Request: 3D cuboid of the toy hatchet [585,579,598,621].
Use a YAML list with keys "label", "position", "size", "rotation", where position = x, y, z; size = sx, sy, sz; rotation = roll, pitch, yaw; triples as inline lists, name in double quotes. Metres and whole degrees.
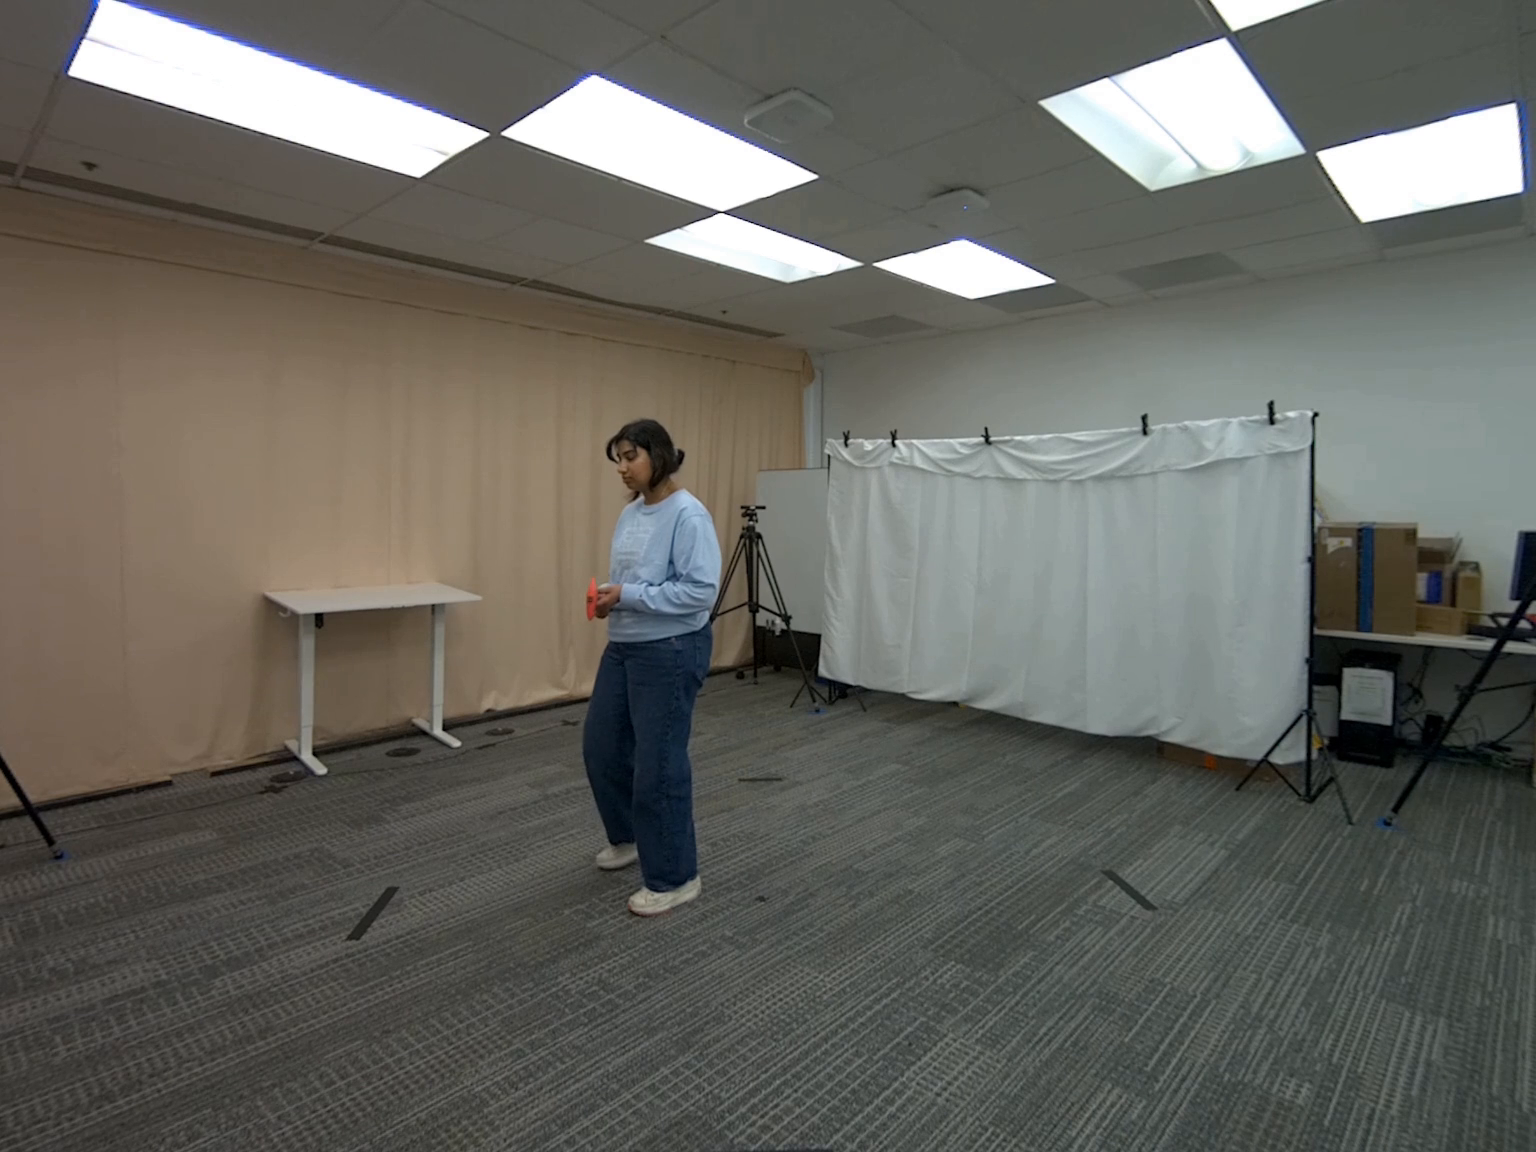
- label: "toy hatchet"
  position: [-0.552, 0.111, 2.754]
  size: [0.030, 0.132, 0.265]
  rotation: [1, -23, 4]
